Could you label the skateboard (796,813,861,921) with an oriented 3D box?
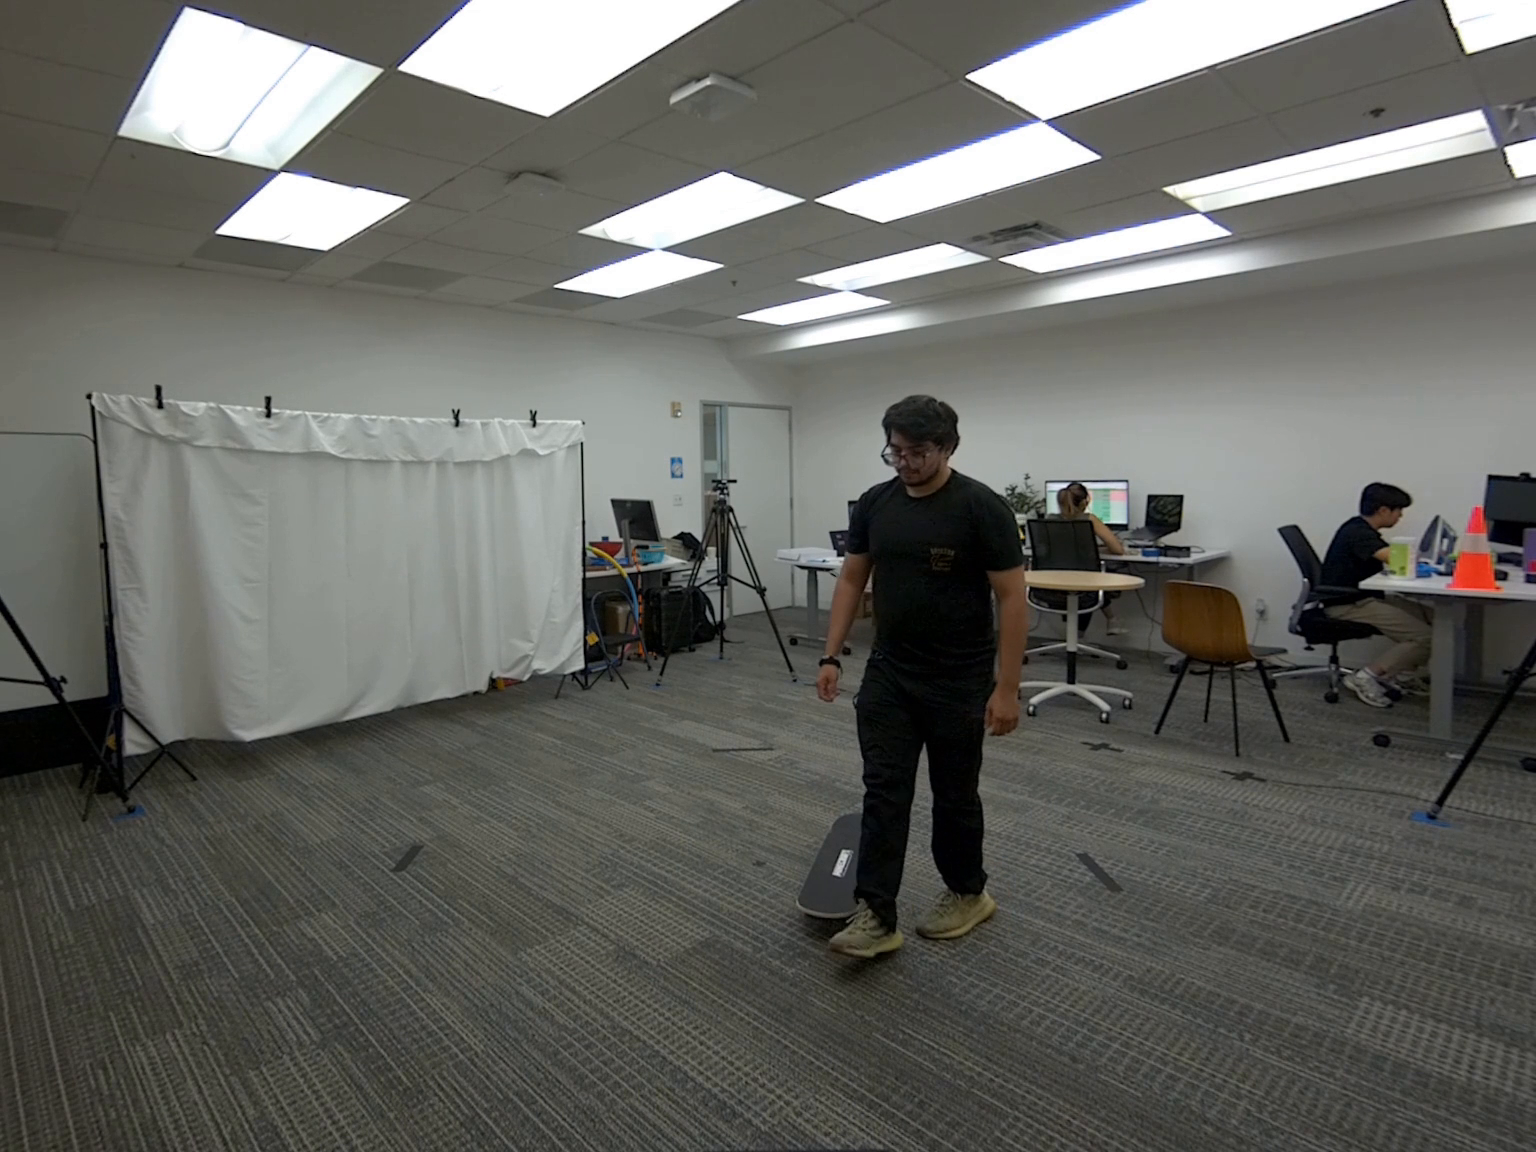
[{"bbox_3d":[0.255,1.006,2.913,0.196,0.110,0.777,1,7,14],"label":"skateboard"}]
